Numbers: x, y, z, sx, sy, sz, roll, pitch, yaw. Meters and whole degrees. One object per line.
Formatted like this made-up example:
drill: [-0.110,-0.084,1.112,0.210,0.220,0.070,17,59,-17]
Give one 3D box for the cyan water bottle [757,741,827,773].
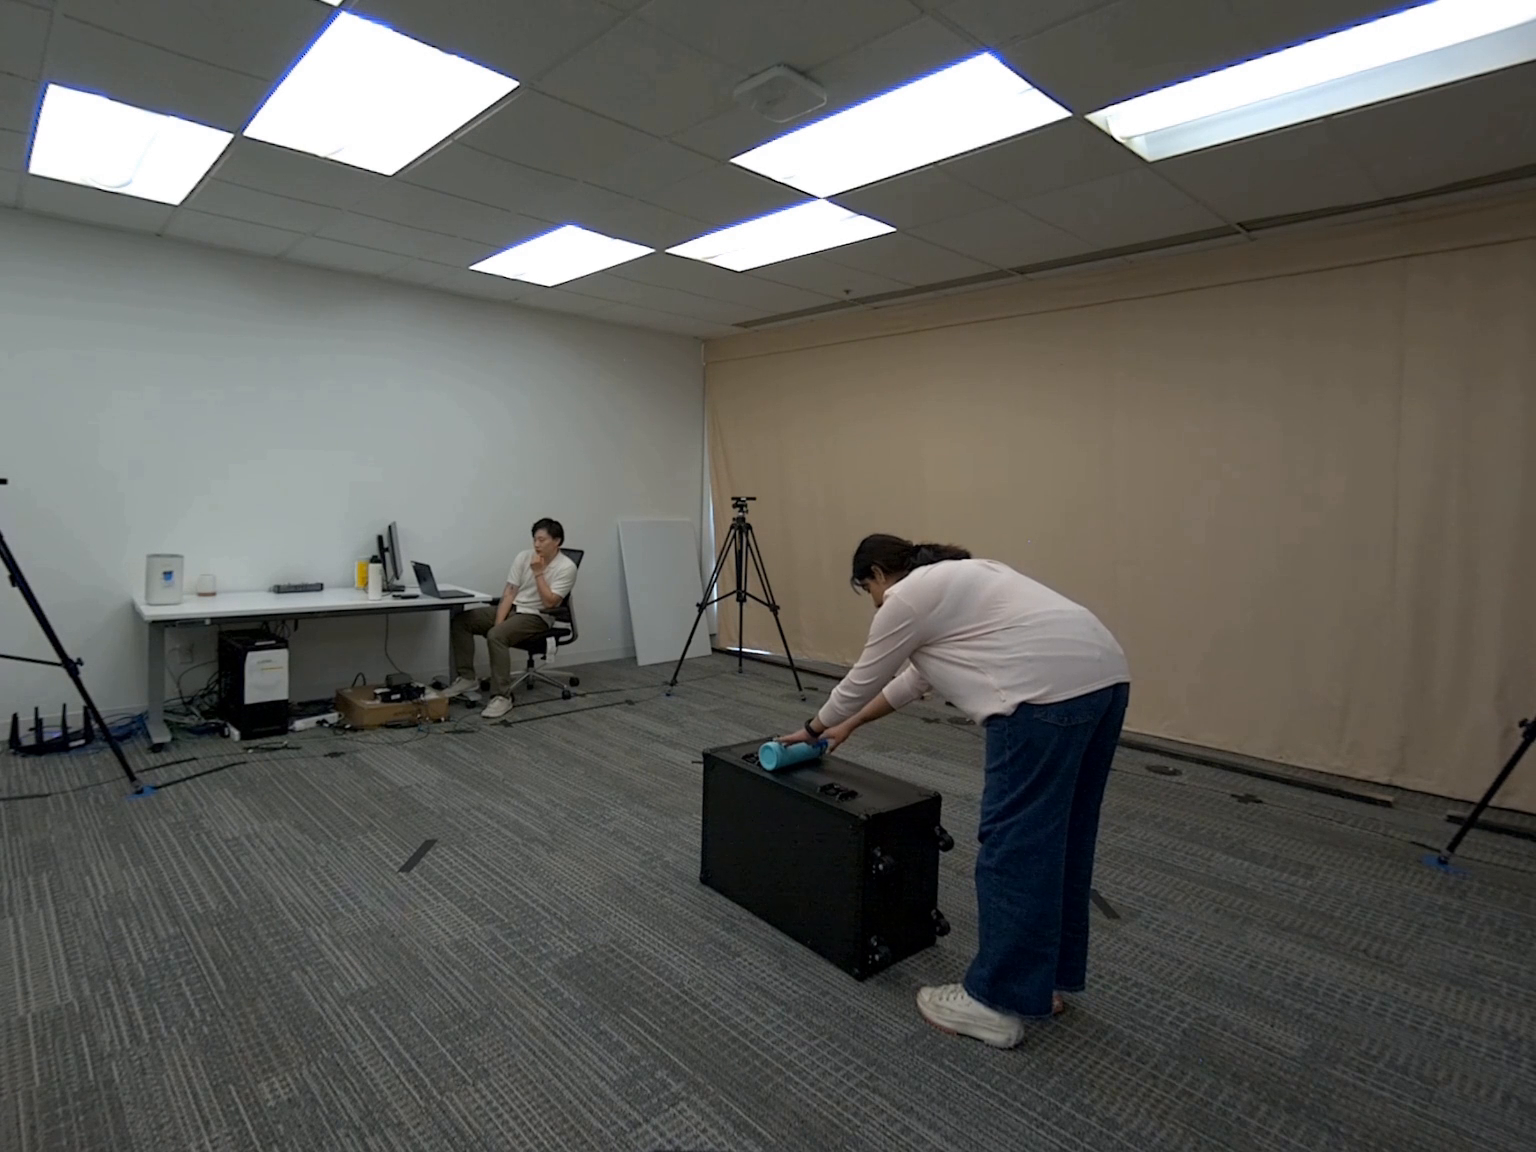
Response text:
cyan water bottle: [0.092,0.598,2.907,0.277,0.092,0.095,-2,6,-44]
